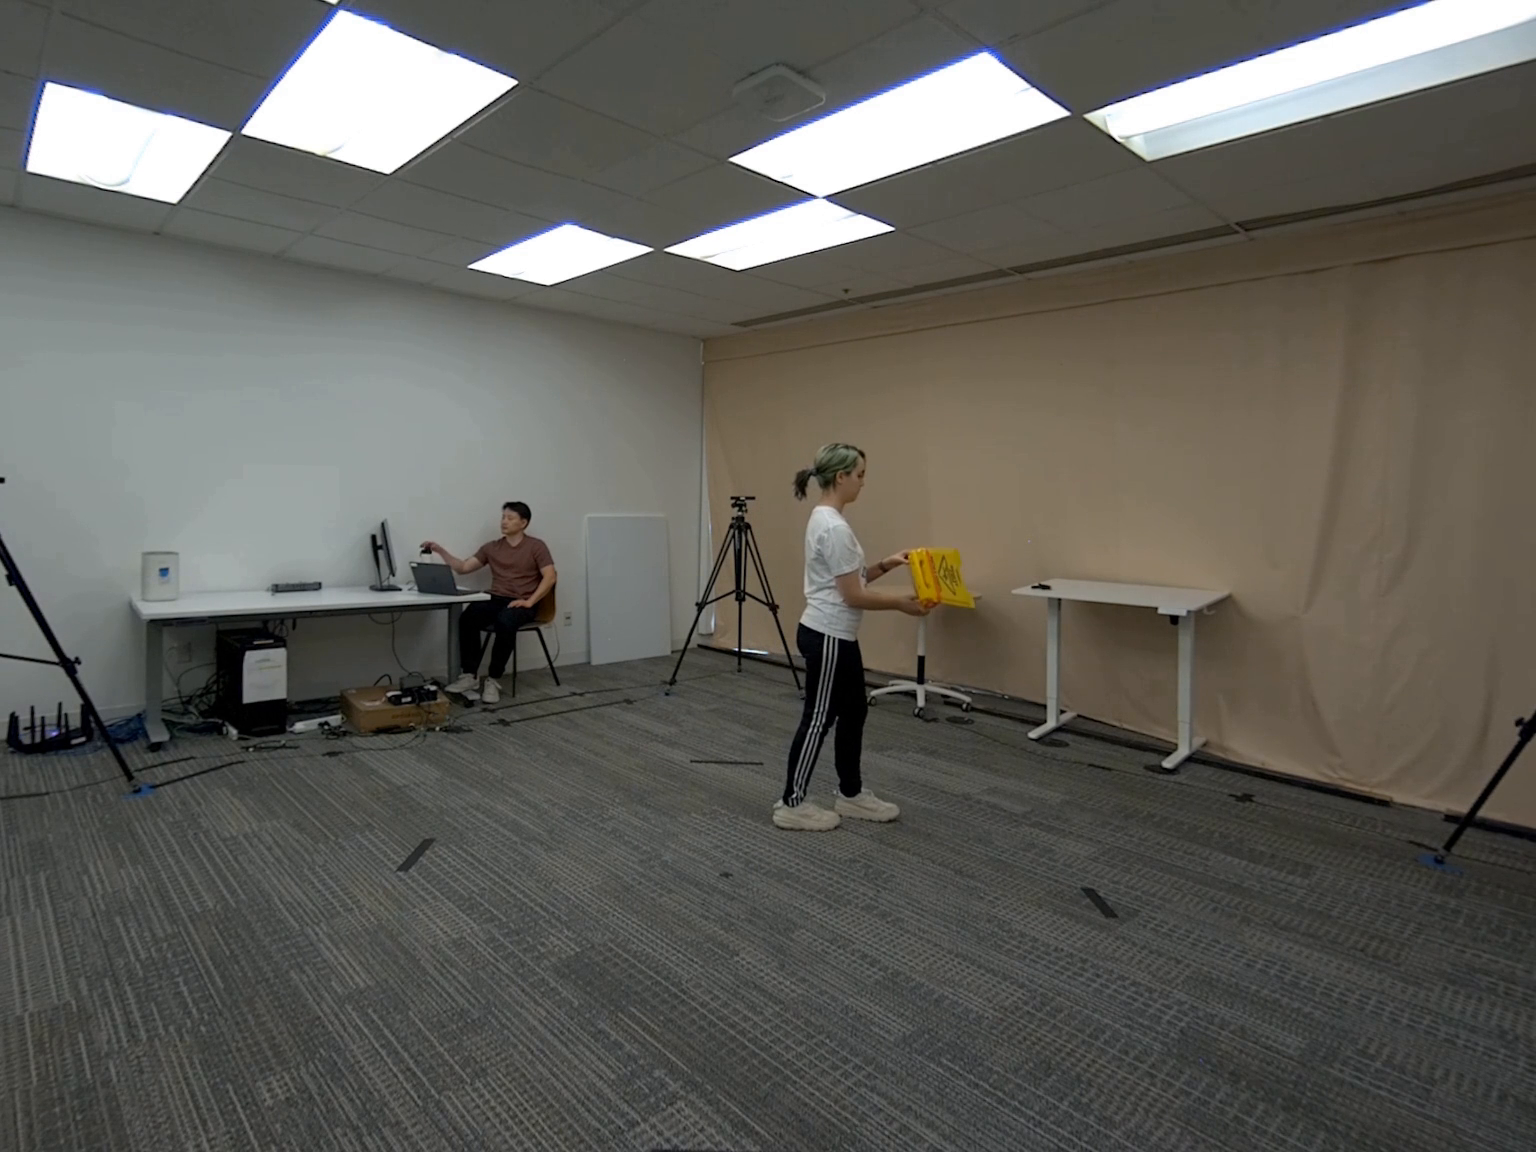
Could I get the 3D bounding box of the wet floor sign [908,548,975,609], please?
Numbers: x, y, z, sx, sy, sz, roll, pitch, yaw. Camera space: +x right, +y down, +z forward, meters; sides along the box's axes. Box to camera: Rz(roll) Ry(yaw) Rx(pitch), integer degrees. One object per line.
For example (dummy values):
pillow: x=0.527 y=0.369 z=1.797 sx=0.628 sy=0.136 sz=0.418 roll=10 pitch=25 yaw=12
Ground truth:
wet floor sign: x=0.678 y=0.019 z=3.570 sx=0.292 sy=0.285 sz=0.634 roll=-14 pitch=-9 yaw=16
